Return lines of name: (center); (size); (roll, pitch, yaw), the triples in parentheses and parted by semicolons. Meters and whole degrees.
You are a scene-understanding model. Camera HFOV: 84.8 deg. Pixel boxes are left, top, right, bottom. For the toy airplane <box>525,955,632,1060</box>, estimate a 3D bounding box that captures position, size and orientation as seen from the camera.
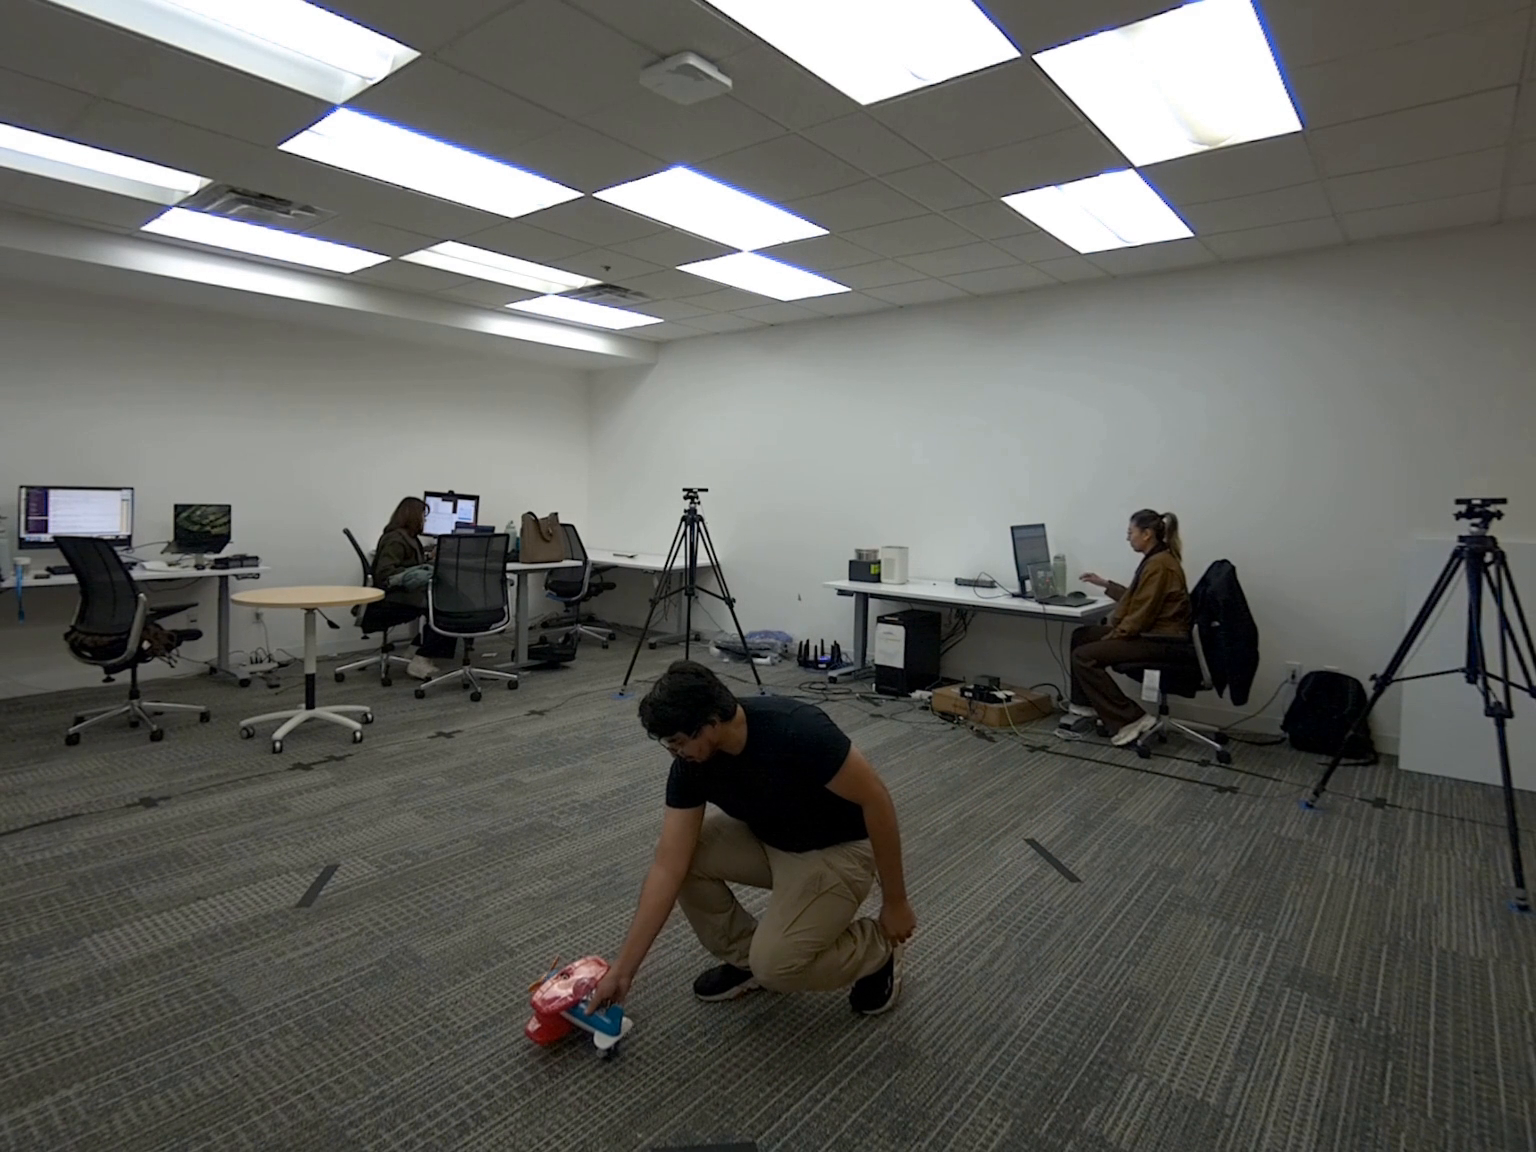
toy airplane: (-0.466, 1.089, 2.154); (0.260, 0.156, 0.251); (0, 5, 2)
